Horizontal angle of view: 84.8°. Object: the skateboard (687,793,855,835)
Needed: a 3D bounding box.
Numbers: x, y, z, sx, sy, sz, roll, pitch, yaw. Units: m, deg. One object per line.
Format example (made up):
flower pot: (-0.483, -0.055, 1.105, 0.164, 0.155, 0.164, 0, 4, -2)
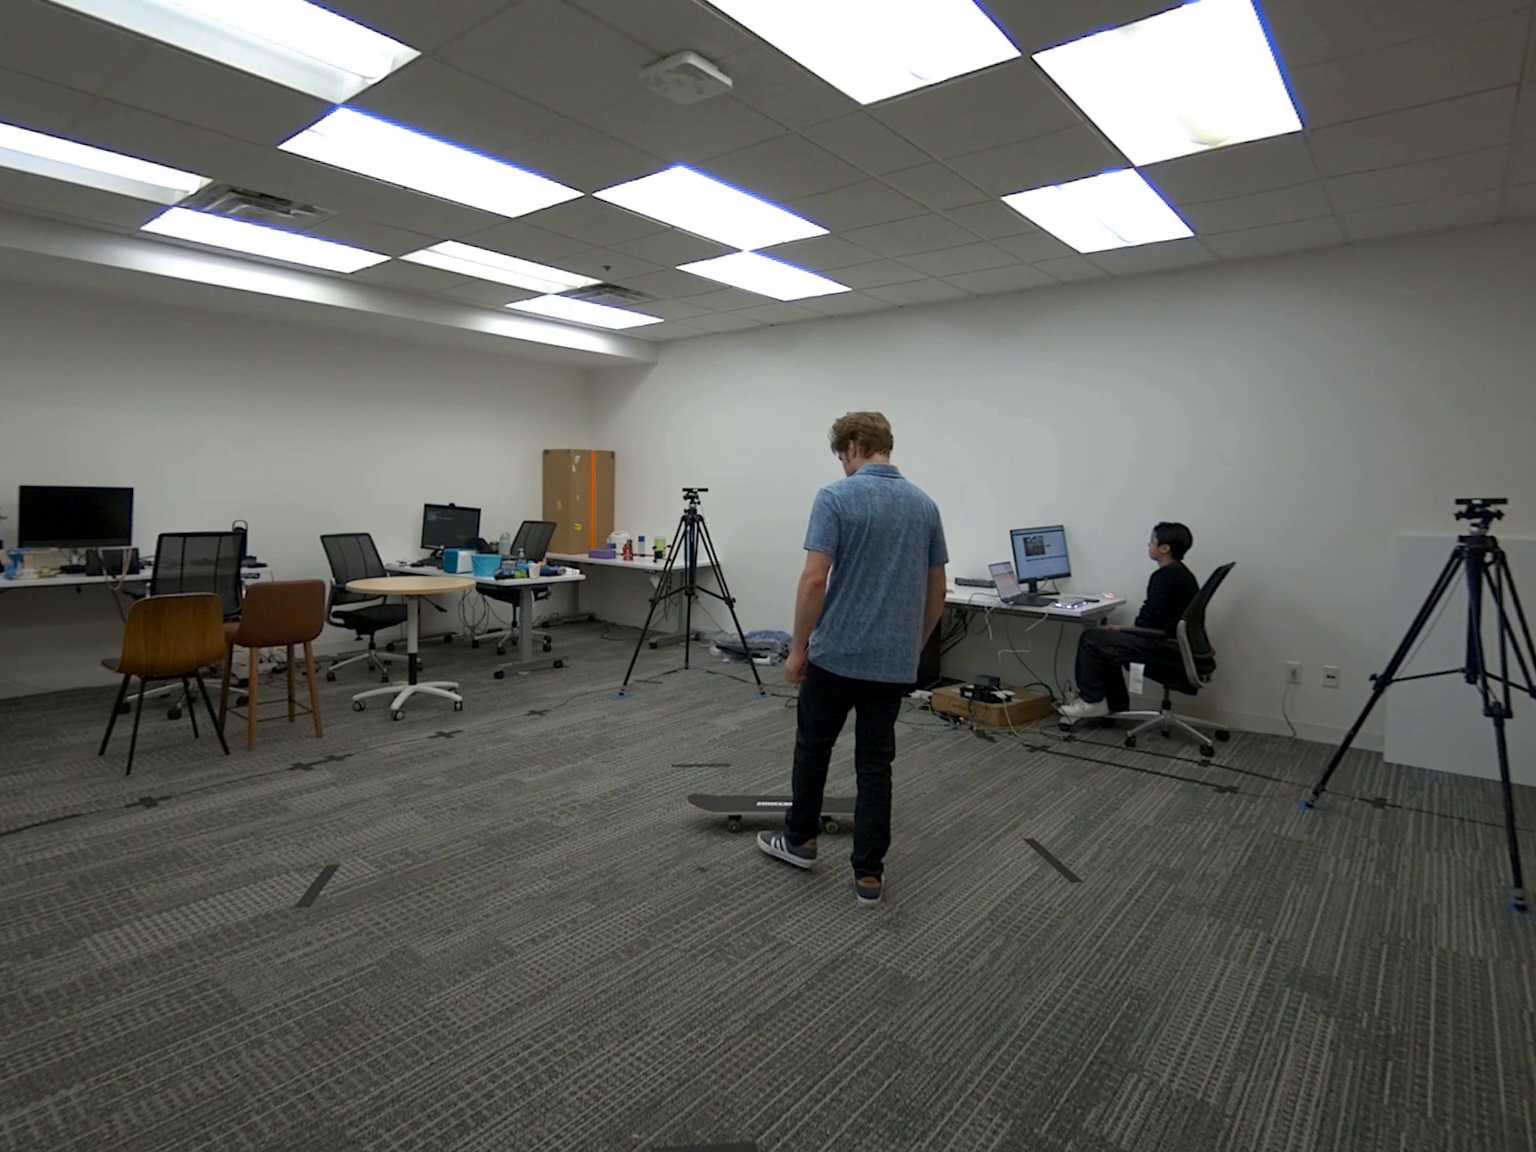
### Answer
skateboard: (0.045, 0.978, 3.542, 0.784, 0.110, 0.194, 1, 4, -2)
